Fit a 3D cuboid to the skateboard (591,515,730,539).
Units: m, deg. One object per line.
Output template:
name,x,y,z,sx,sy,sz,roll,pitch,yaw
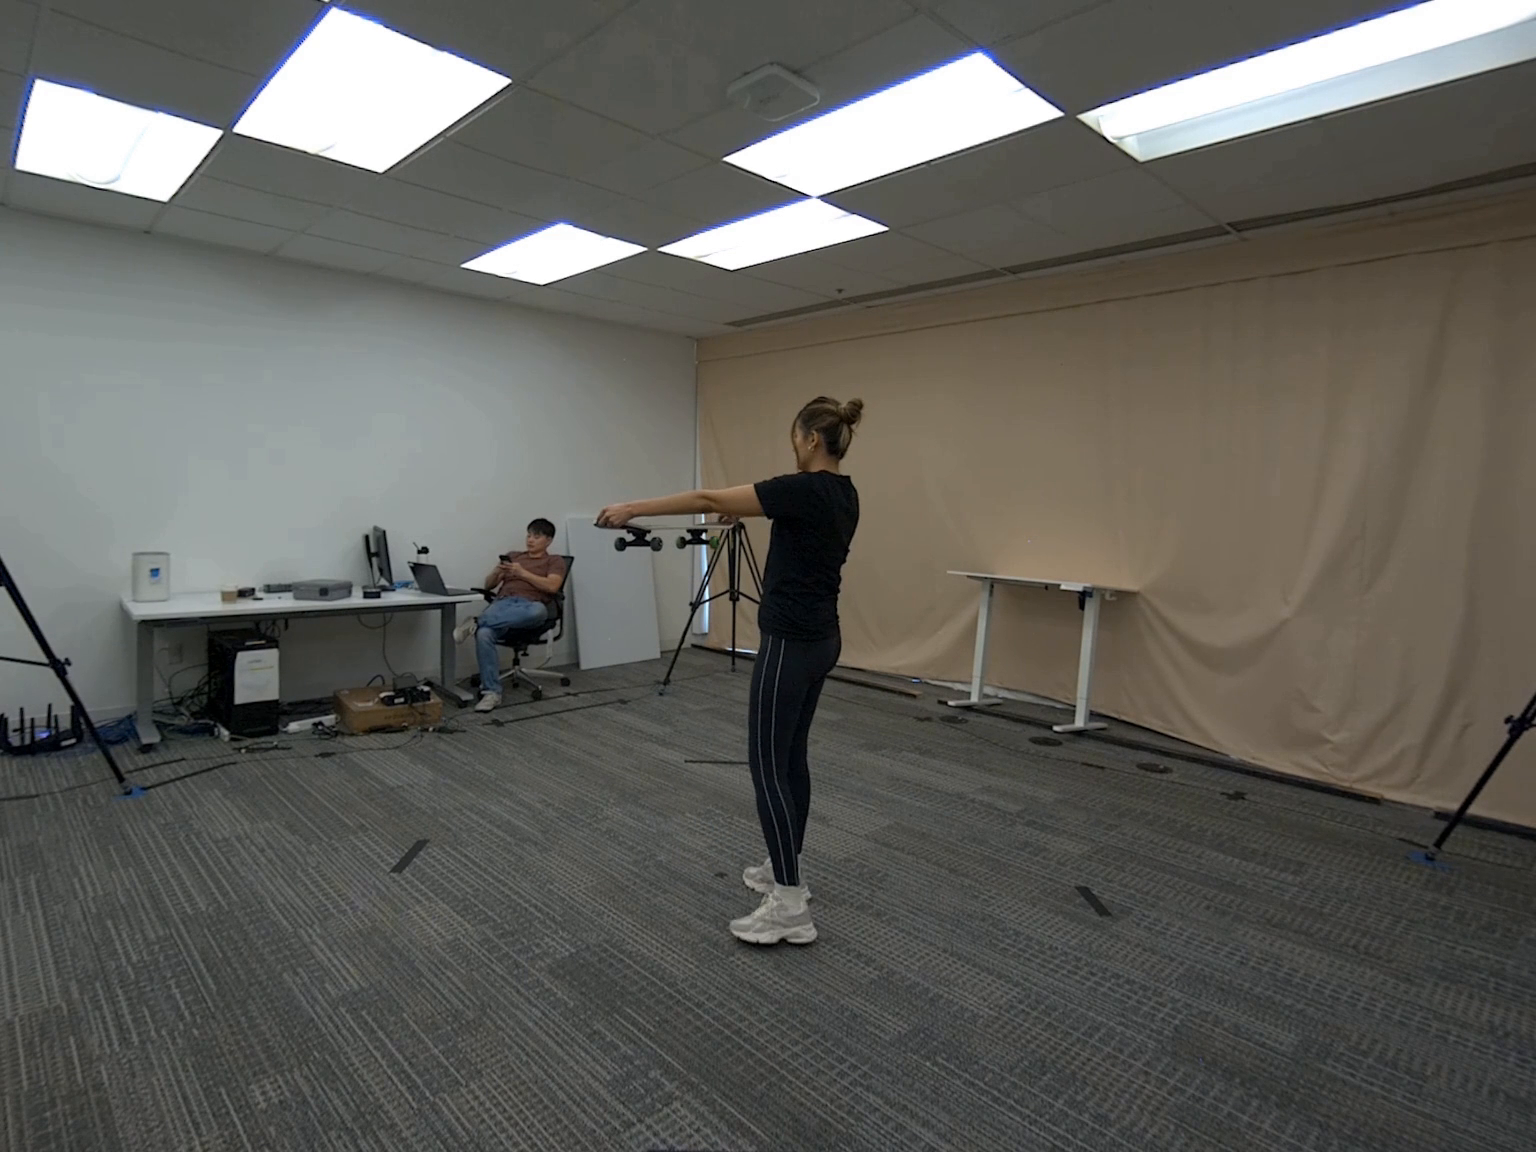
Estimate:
skateboard,-0.375,-0.152,3.103,0.197,0.110,0.771,-1,2,27
